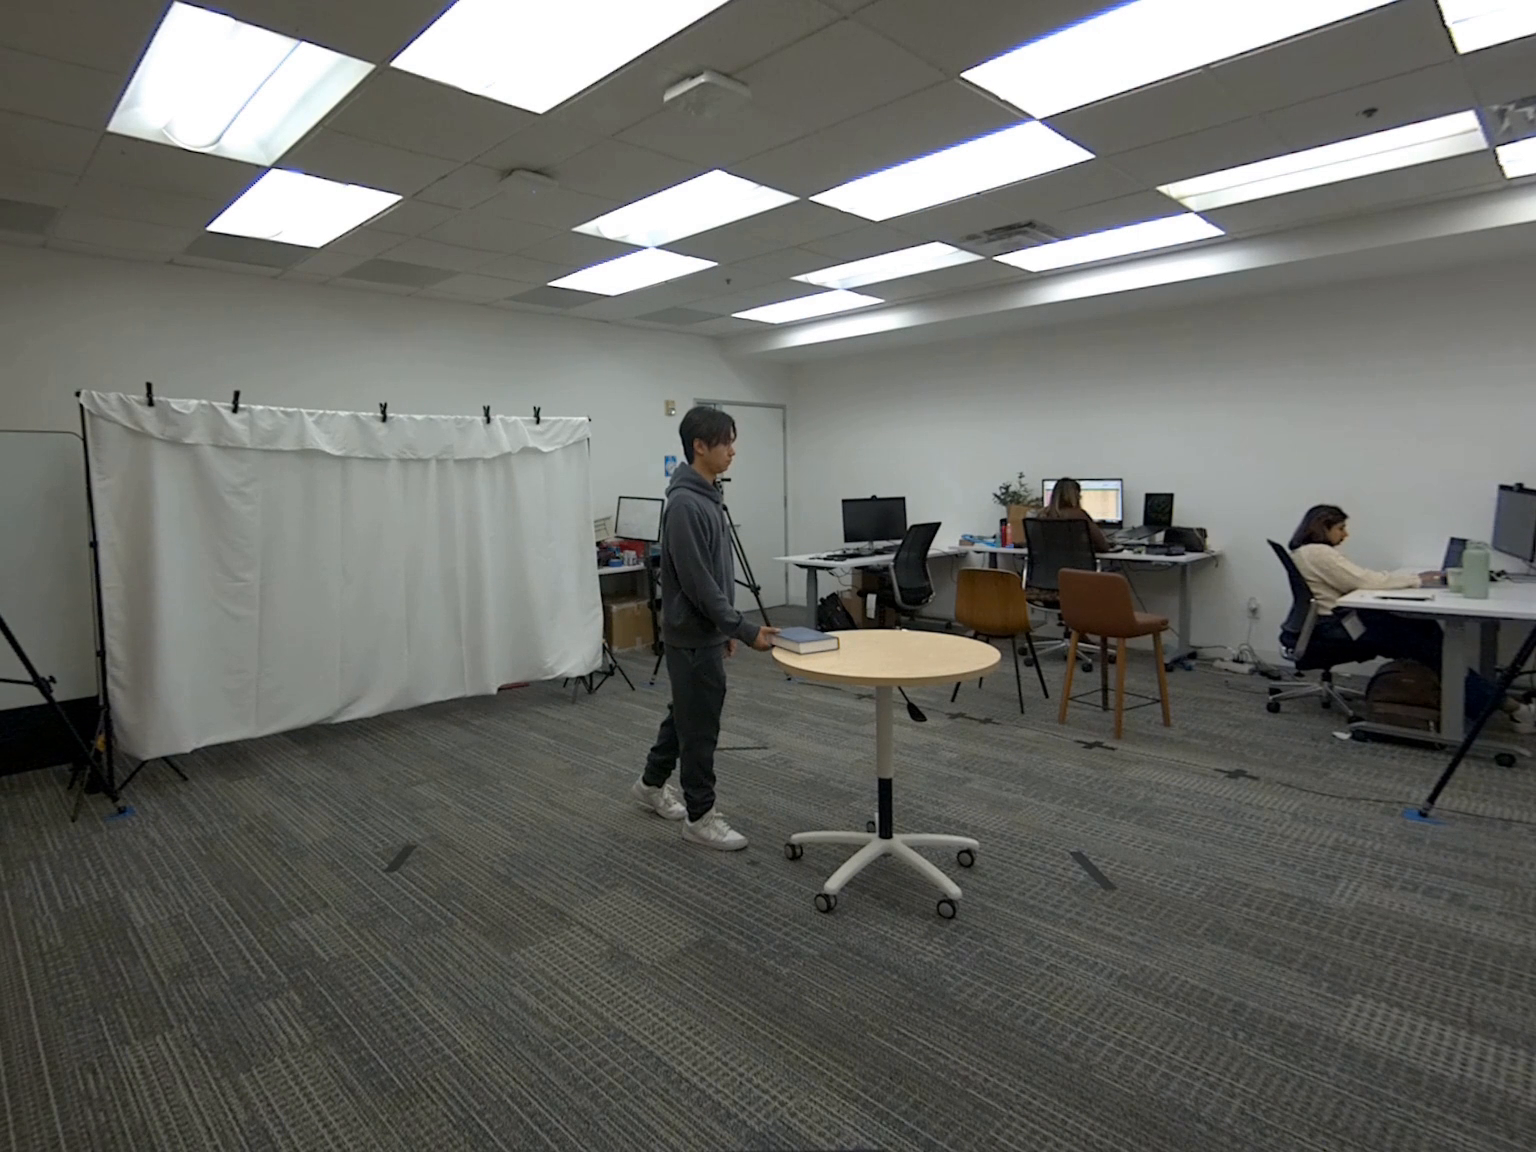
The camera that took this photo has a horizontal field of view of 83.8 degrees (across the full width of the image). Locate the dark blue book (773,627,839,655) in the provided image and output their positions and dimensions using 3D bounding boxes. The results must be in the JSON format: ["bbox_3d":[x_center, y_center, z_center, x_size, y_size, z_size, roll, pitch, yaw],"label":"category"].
[{"bbox_3d":[0.120,0.229,3.037,0.160,0.045,0.252,-5,8,-27],"label":"dark blue book"}]
